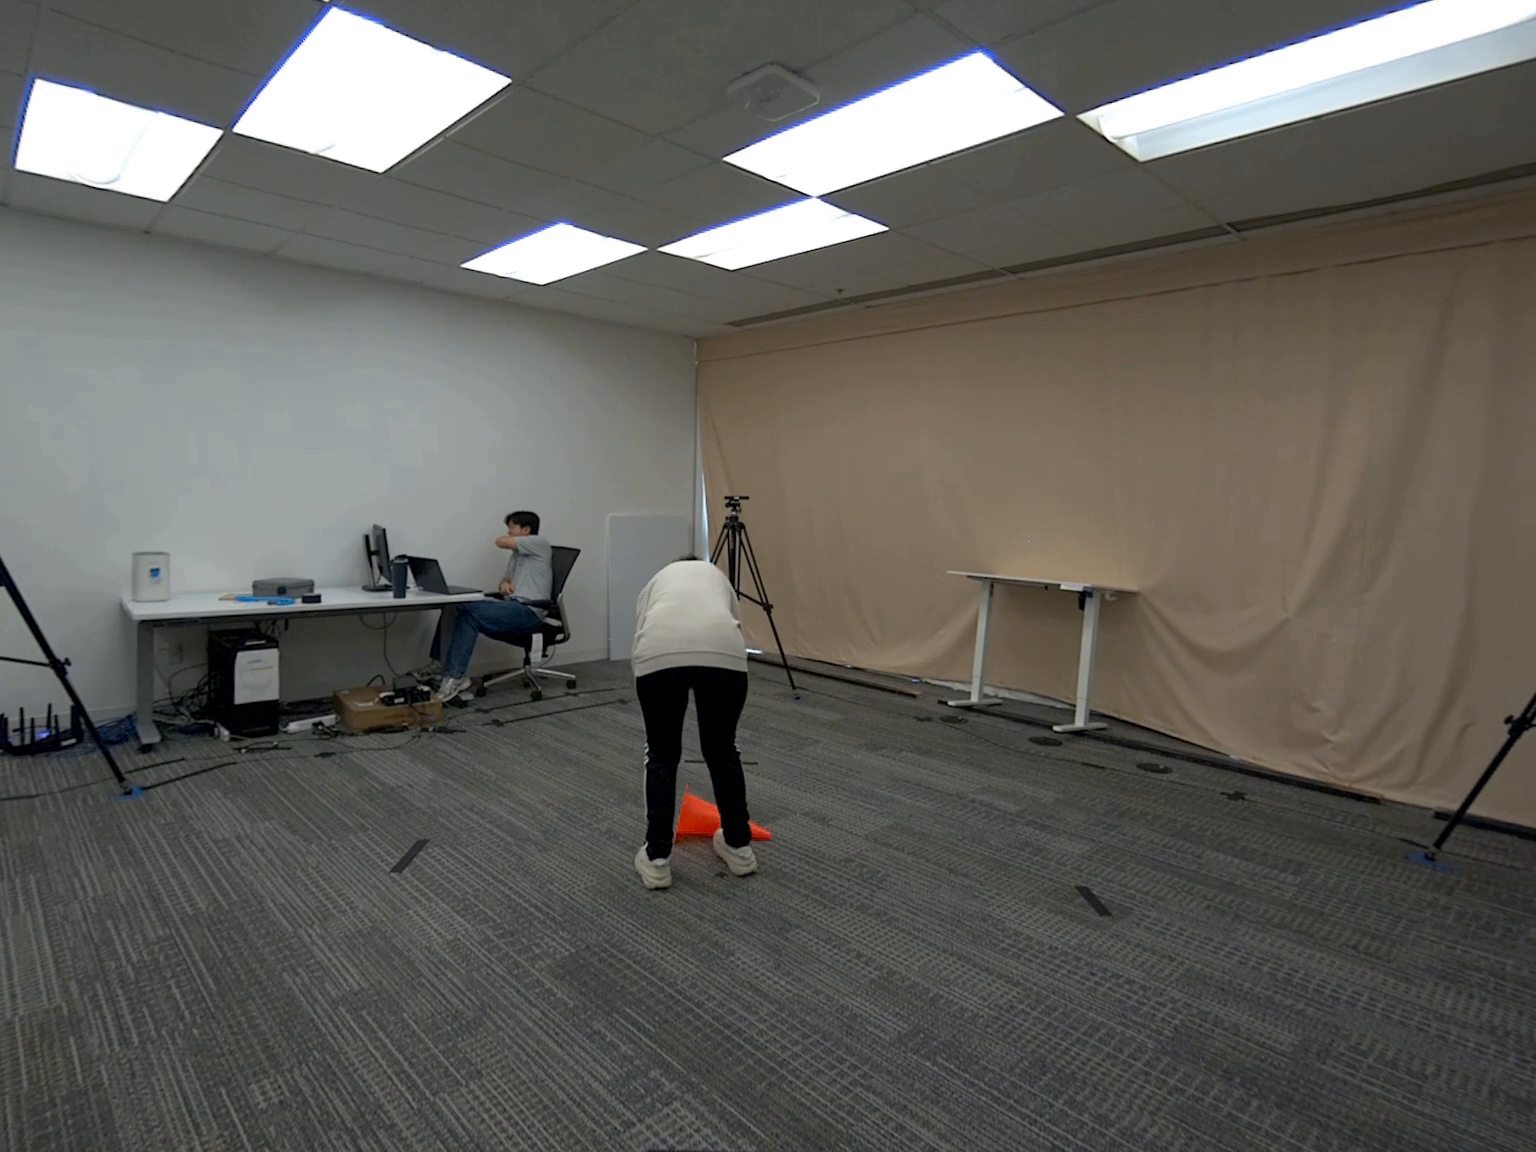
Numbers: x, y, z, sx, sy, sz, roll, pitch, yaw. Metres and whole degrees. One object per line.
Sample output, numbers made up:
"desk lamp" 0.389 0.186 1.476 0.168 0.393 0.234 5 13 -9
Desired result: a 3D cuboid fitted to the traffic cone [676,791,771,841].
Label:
"traffic cone" -0.184 1.024 3.461 0.384 0.203 0.205 13 6 0
